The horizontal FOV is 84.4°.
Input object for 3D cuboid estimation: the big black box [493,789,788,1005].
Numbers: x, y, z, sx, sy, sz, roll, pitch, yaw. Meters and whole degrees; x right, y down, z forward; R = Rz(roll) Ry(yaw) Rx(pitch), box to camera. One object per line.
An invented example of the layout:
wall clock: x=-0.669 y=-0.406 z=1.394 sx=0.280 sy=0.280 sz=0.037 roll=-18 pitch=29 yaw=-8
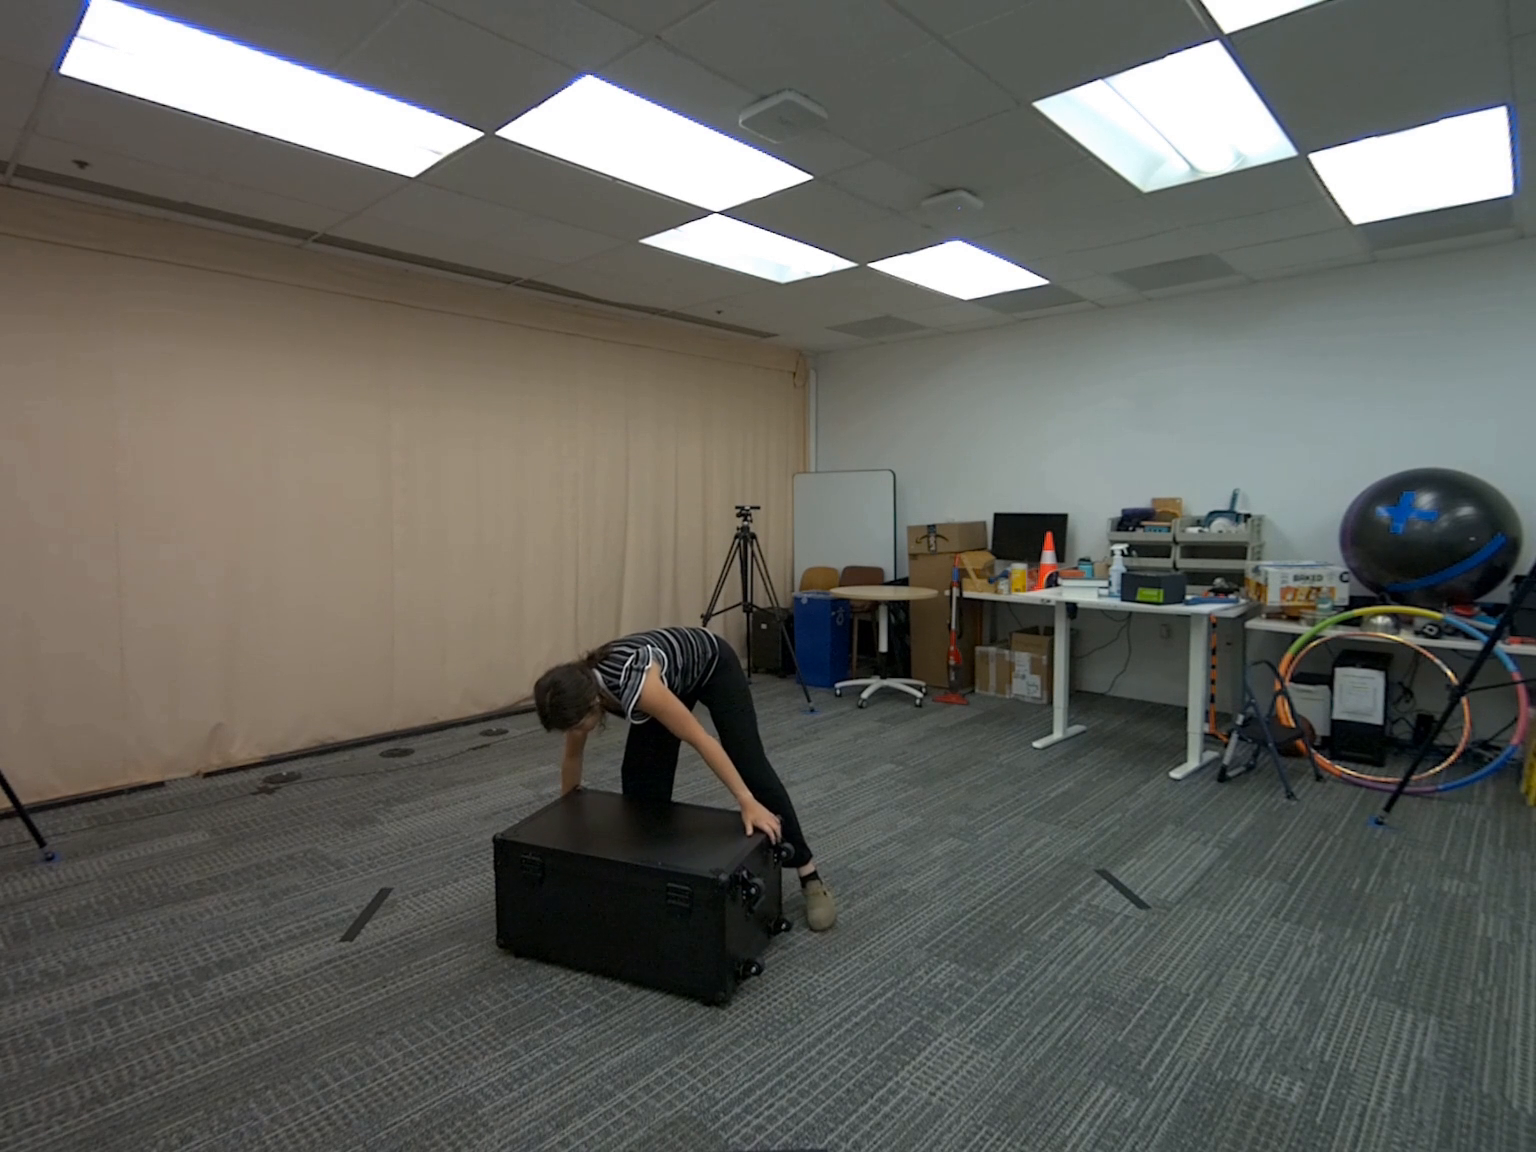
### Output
big black box: x=-0.370 y=0.978 z=2.659 sx=0.881 sy=0.395 sz=0.511 roll=1 pitch=5 yaw=22
